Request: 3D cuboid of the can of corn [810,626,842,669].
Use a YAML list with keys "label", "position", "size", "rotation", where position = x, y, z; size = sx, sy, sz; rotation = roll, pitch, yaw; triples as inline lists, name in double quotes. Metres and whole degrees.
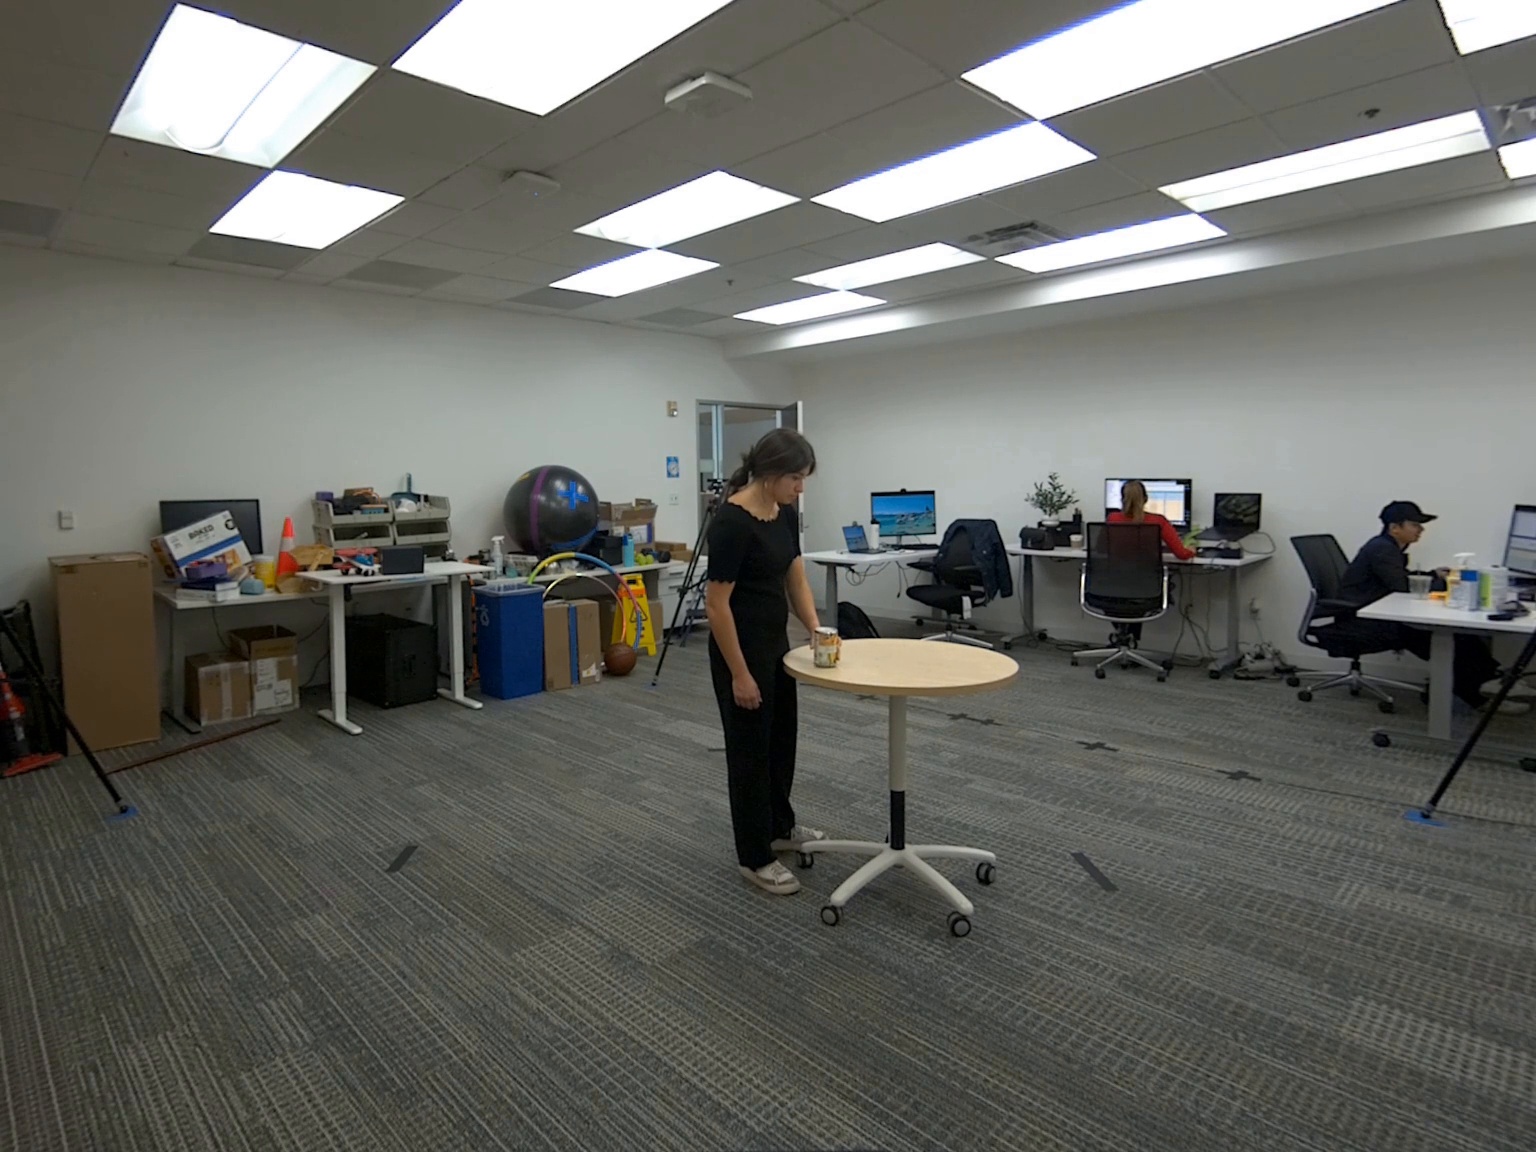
- label: "can of corn"
  position: [0.177, 0.231, 2.764]
  size: [0.074, 0.110, 0.075]
  rotation: [2, 7, -2]
